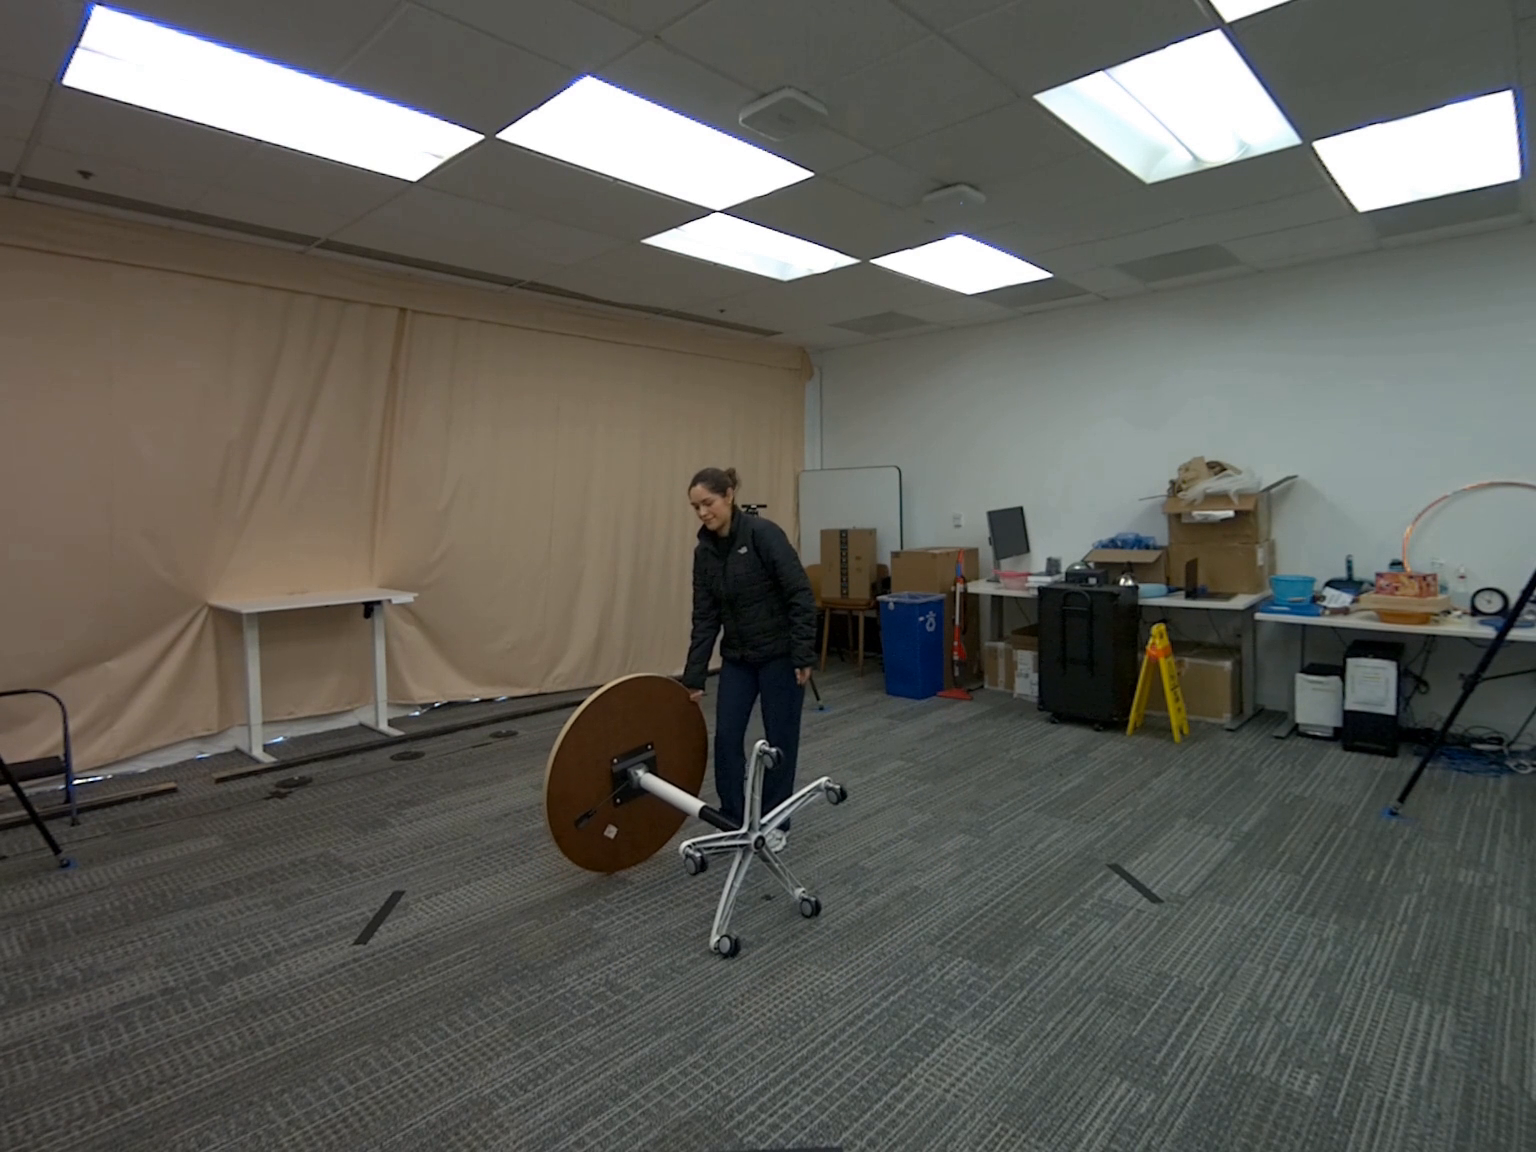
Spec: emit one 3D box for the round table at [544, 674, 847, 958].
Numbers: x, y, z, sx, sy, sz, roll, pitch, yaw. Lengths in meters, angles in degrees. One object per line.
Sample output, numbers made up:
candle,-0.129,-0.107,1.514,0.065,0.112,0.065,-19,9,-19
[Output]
round table,-0.236,0.805,2.942,0.814,0.781,0.761,11,11,44
